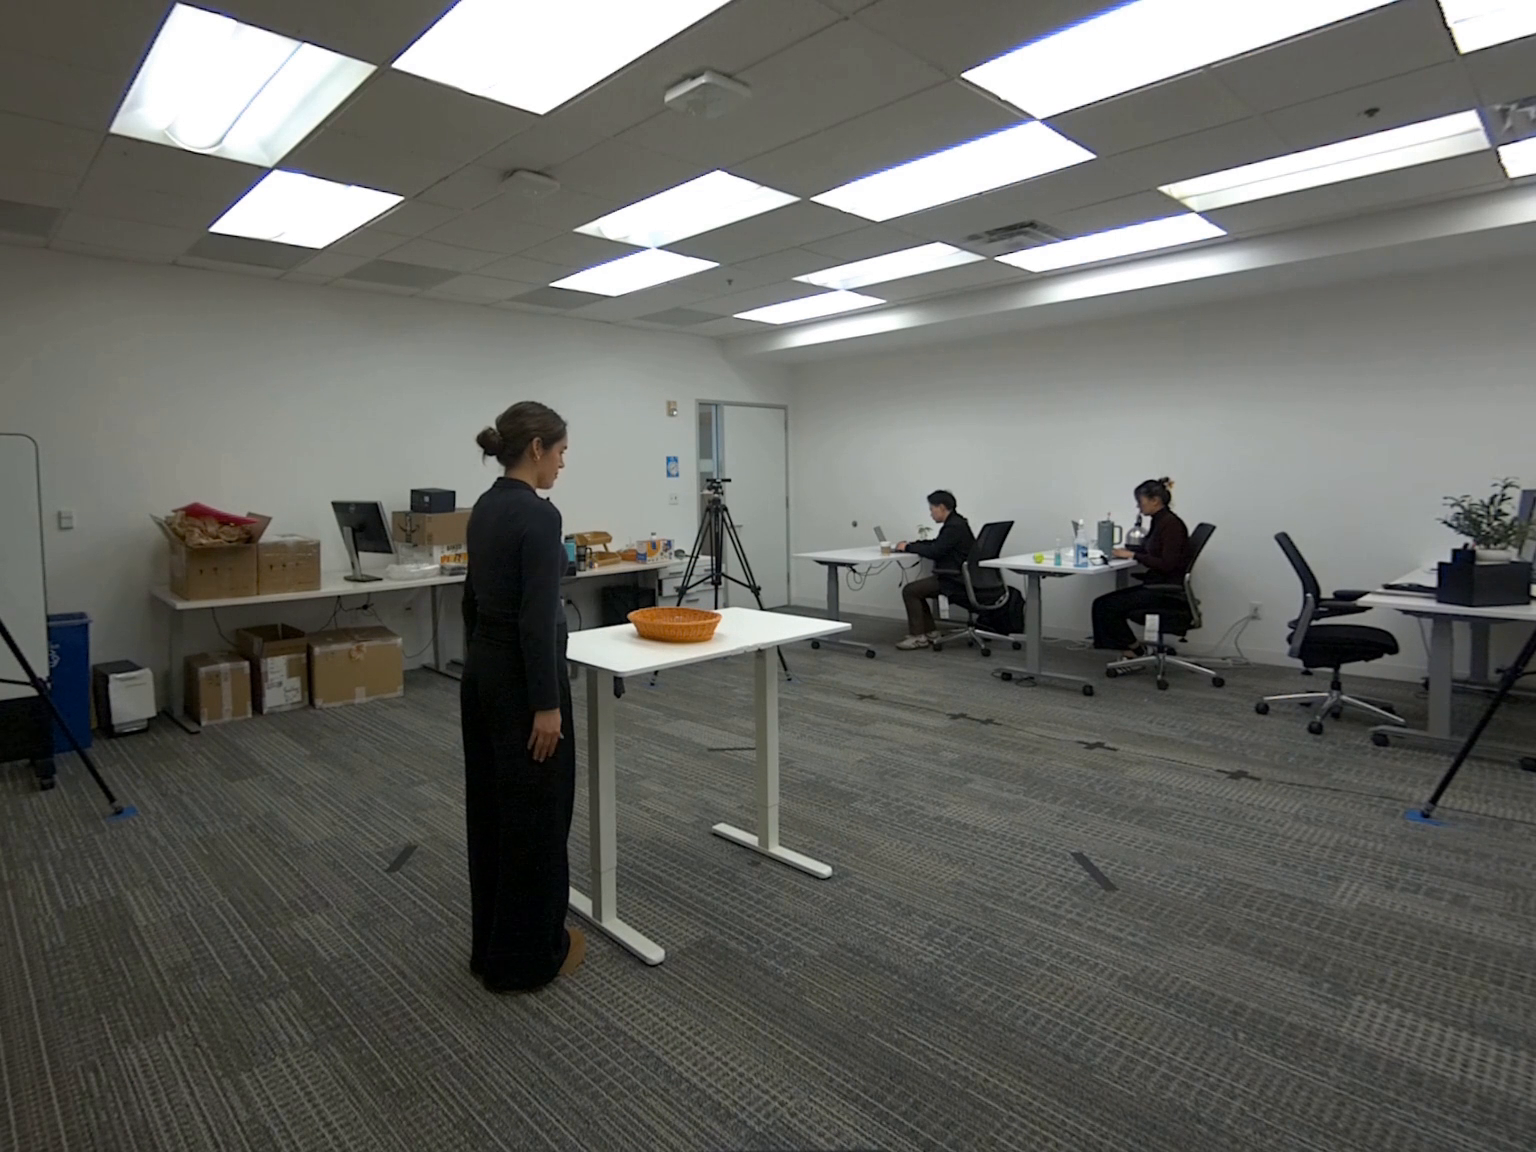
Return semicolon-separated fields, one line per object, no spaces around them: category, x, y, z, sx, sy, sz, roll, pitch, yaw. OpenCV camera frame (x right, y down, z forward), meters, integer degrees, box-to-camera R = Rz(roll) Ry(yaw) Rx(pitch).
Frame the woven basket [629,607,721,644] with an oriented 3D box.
woven basket;-0.311;0.170;2.814;0.246;0.073;0.361;-6;8;-40
